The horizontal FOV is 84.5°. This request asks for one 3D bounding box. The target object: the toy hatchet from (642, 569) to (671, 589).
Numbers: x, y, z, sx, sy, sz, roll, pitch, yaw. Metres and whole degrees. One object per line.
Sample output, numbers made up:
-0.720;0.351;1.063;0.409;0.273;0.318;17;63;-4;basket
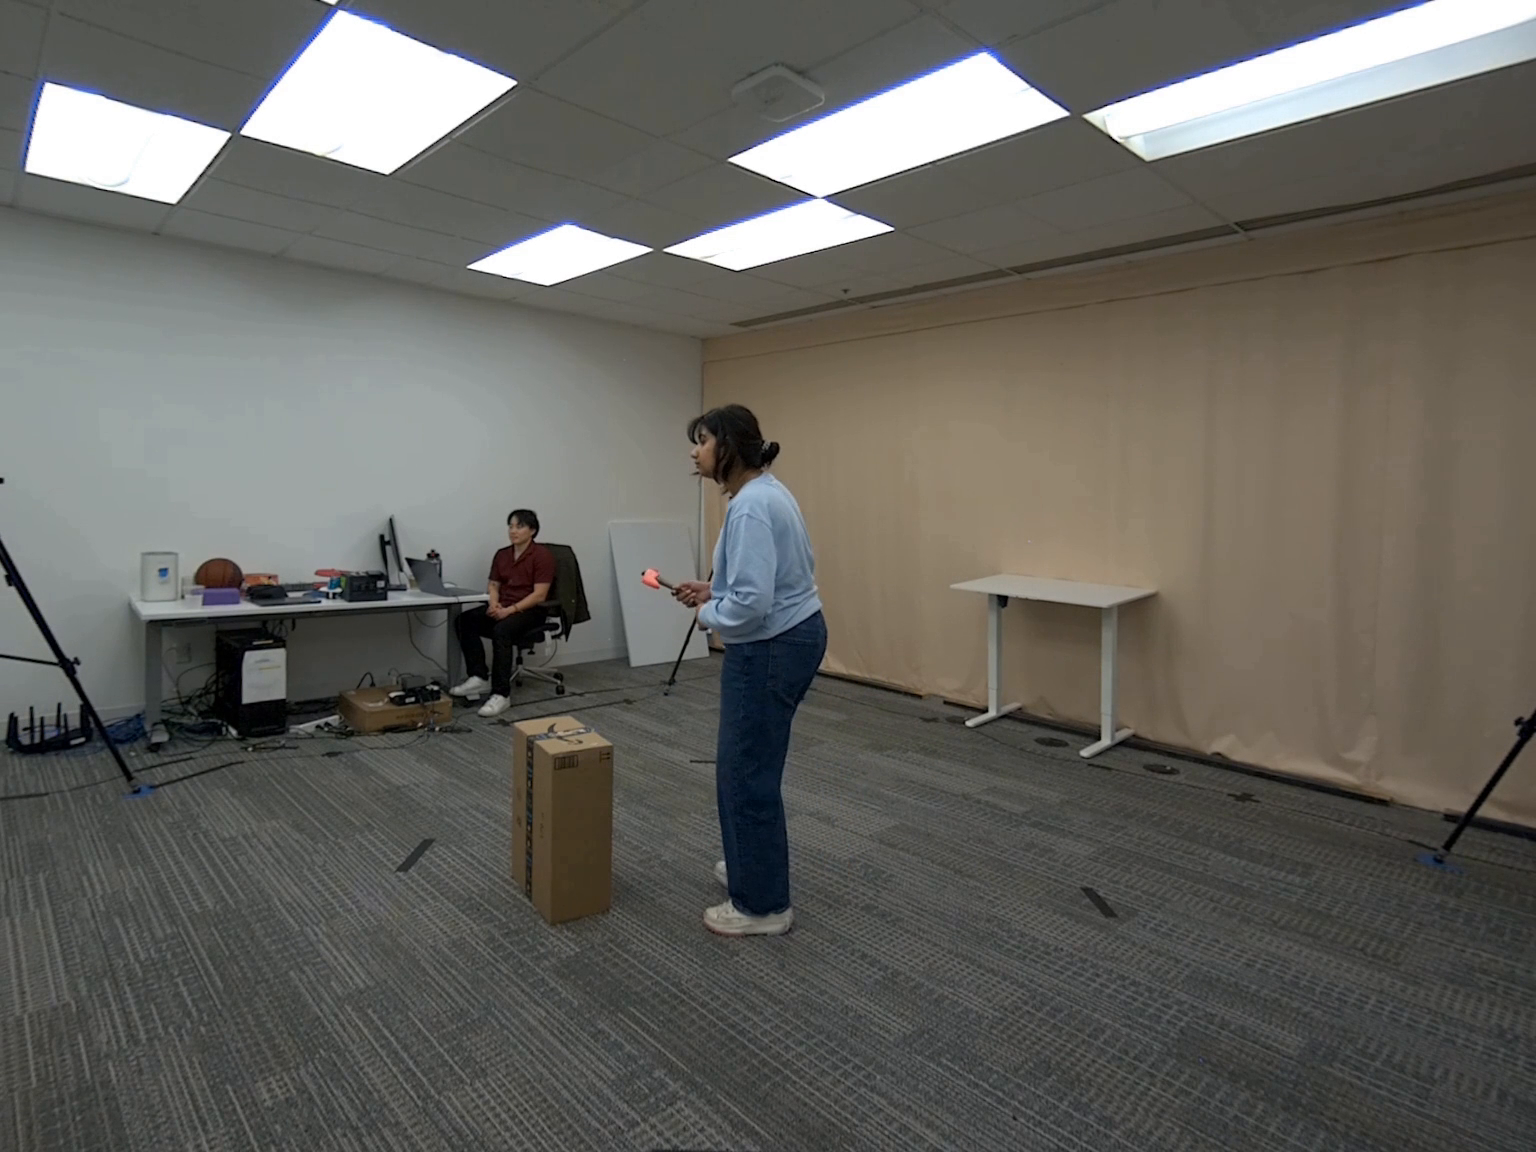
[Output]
-0.310;0.052;2.763;0.276;0.029;0.129;31;20;22;toy hatchet
